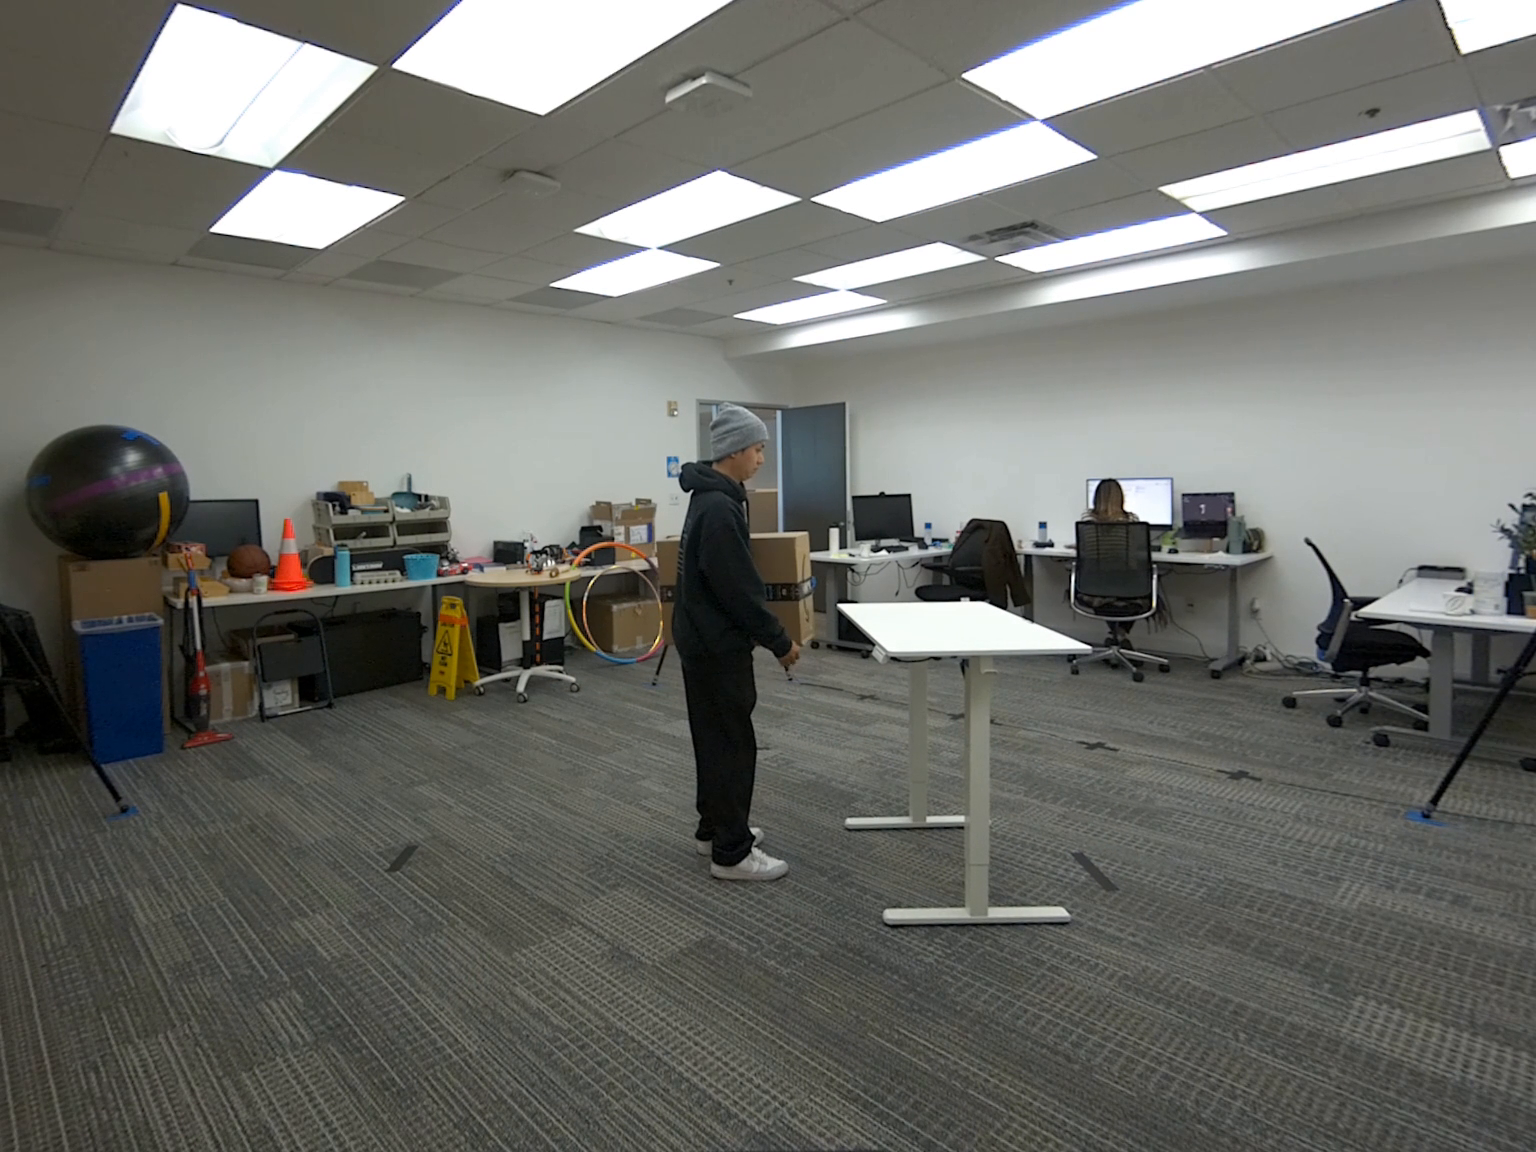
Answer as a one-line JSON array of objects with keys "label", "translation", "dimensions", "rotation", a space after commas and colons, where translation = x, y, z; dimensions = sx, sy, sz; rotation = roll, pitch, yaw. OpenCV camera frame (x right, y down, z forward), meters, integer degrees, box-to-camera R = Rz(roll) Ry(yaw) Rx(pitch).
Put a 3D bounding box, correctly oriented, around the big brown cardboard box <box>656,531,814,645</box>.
[{"label": "big brown cardboard box", "translation": [-0.122, 0.048, 3.367], "dimensions": [0.598, 0.416, 0.230], "rotation": [-1, 5, 17]}]
